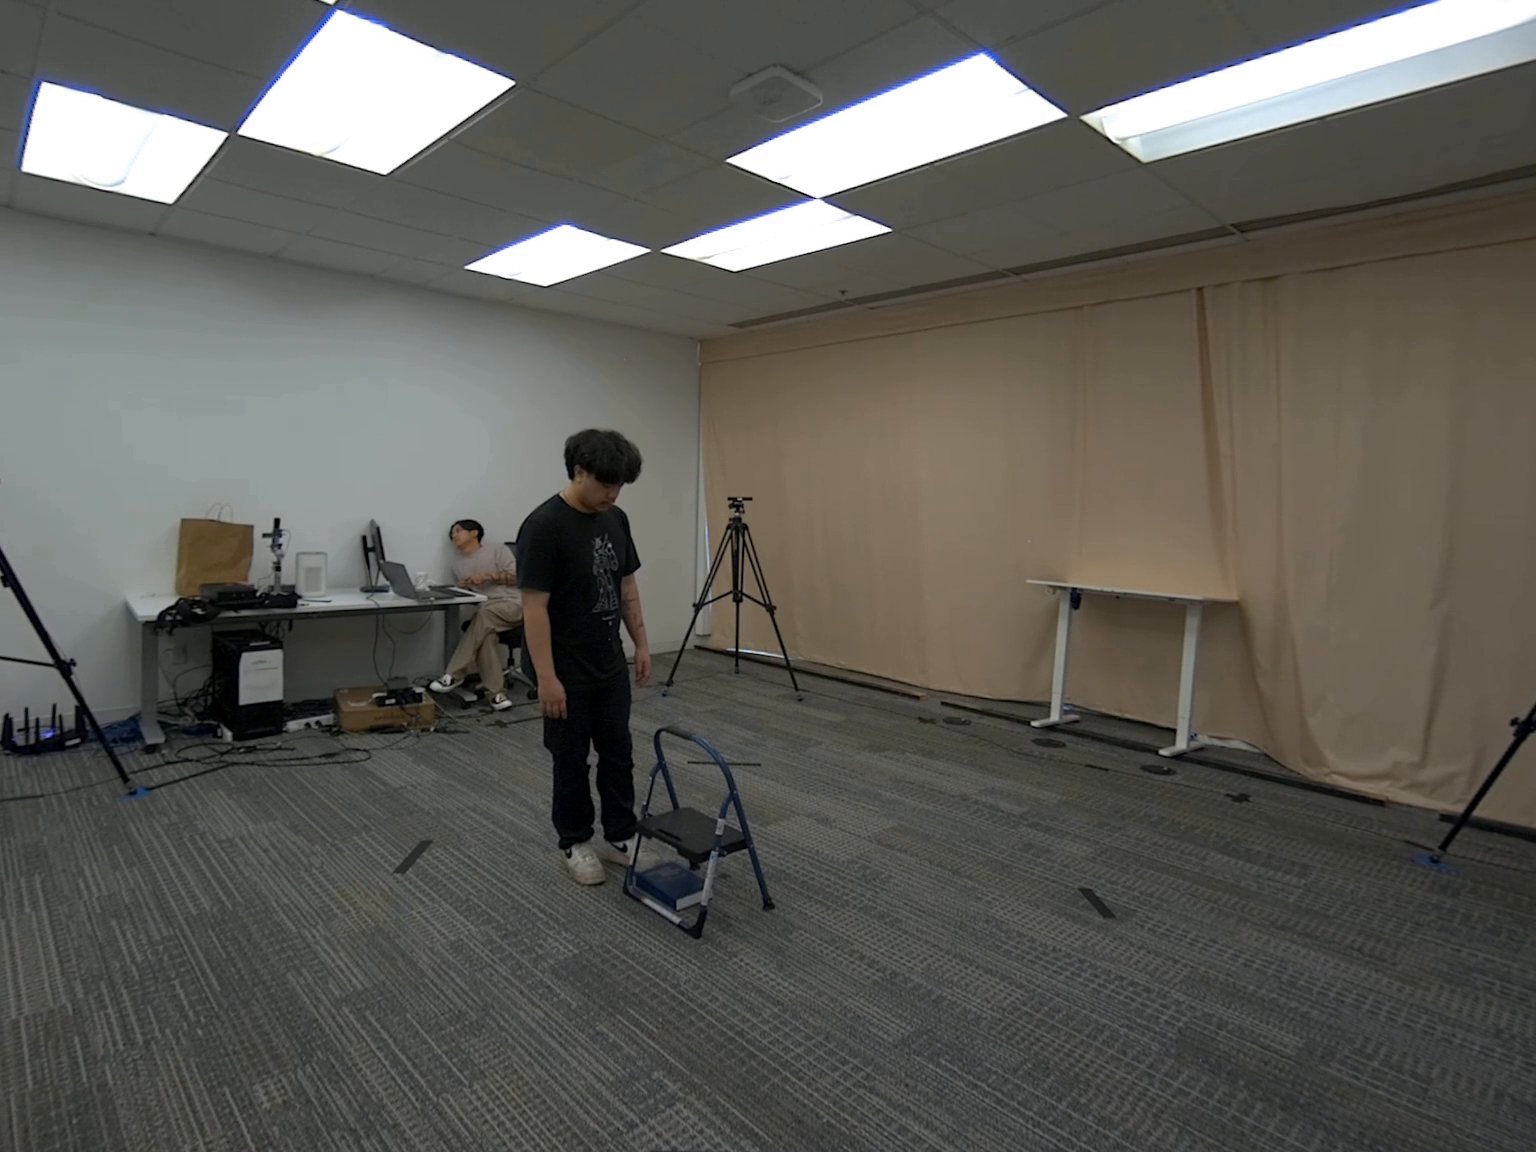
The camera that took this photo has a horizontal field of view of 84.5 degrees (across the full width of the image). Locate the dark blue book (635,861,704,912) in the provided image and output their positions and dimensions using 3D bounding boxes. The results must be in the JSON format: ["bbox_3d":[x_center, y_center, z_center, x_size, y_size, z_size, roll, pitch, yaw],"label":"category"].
[{"bbox_3d":[-0.342,1.099,2.965,0.160,0.045,0.251,-5,8,-41],"label":"dark blue book"}]
